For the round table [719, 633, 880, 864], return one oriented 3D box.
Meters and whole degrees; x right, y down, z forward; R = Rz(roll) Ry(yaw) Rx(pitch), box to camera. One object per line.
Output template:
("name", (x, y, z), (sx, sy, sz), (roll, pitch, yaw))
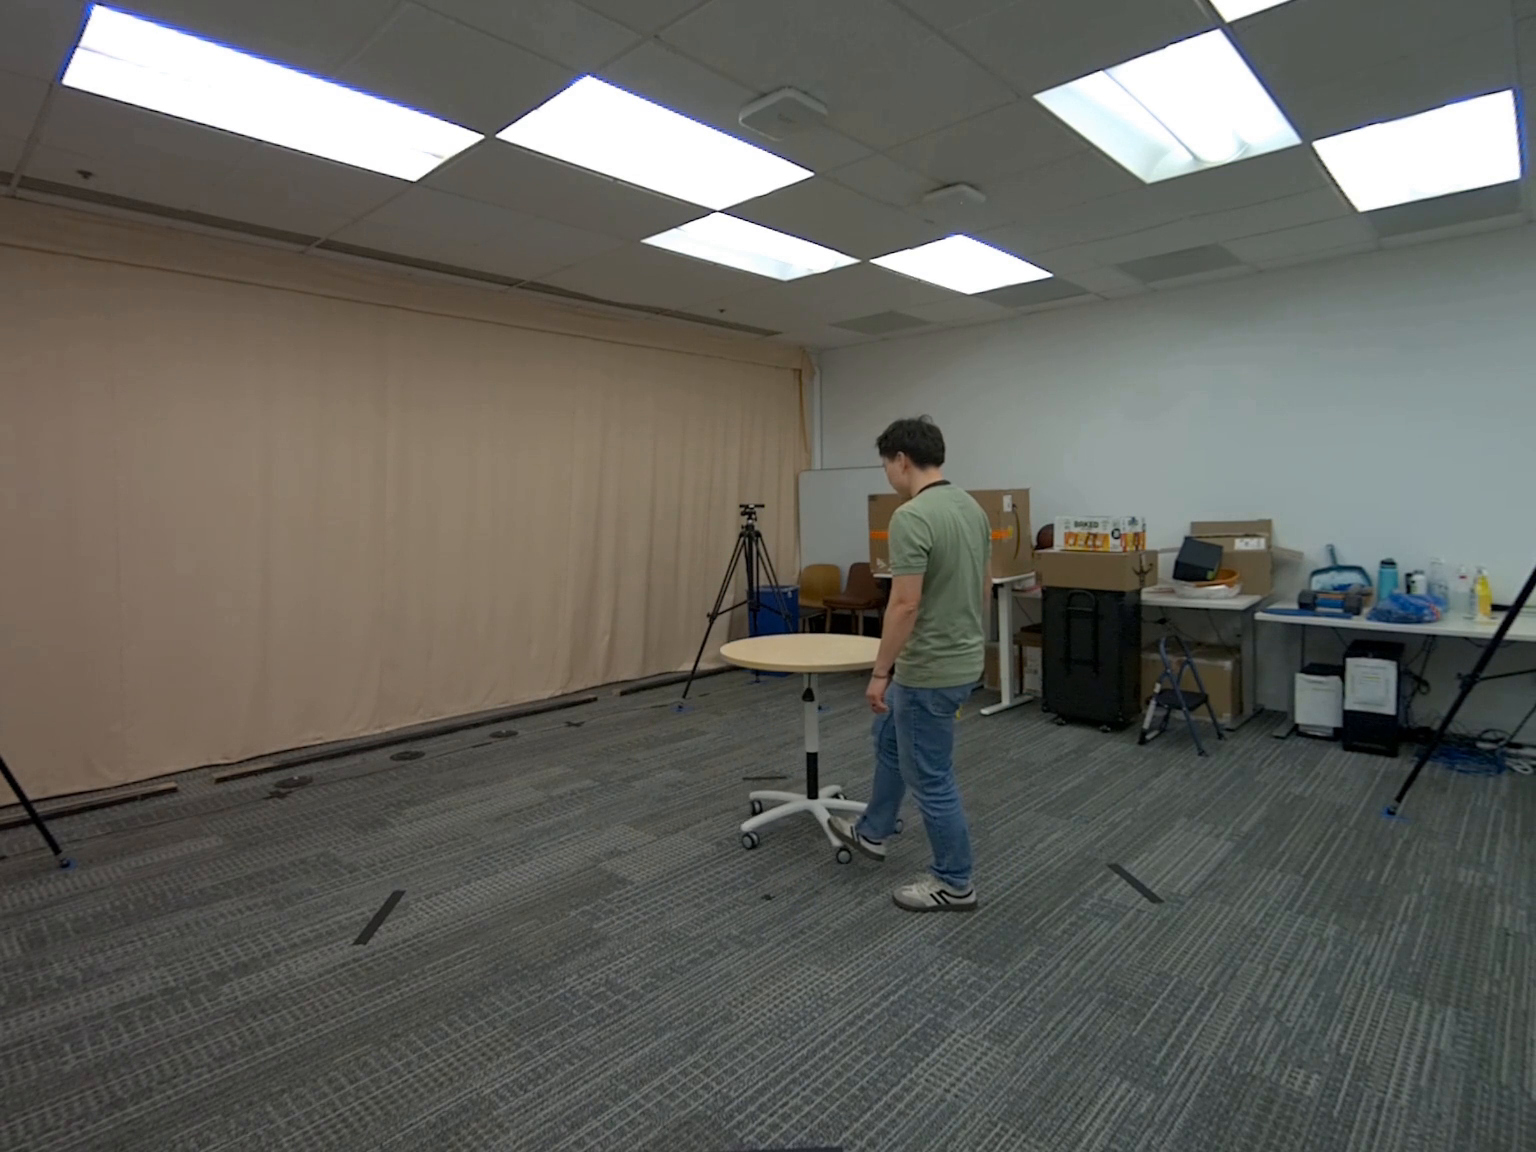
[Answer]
("round table", (0.188, 0.698, 3.571), (0.763, 0.792, 0.766), (-1, 4, -2))
